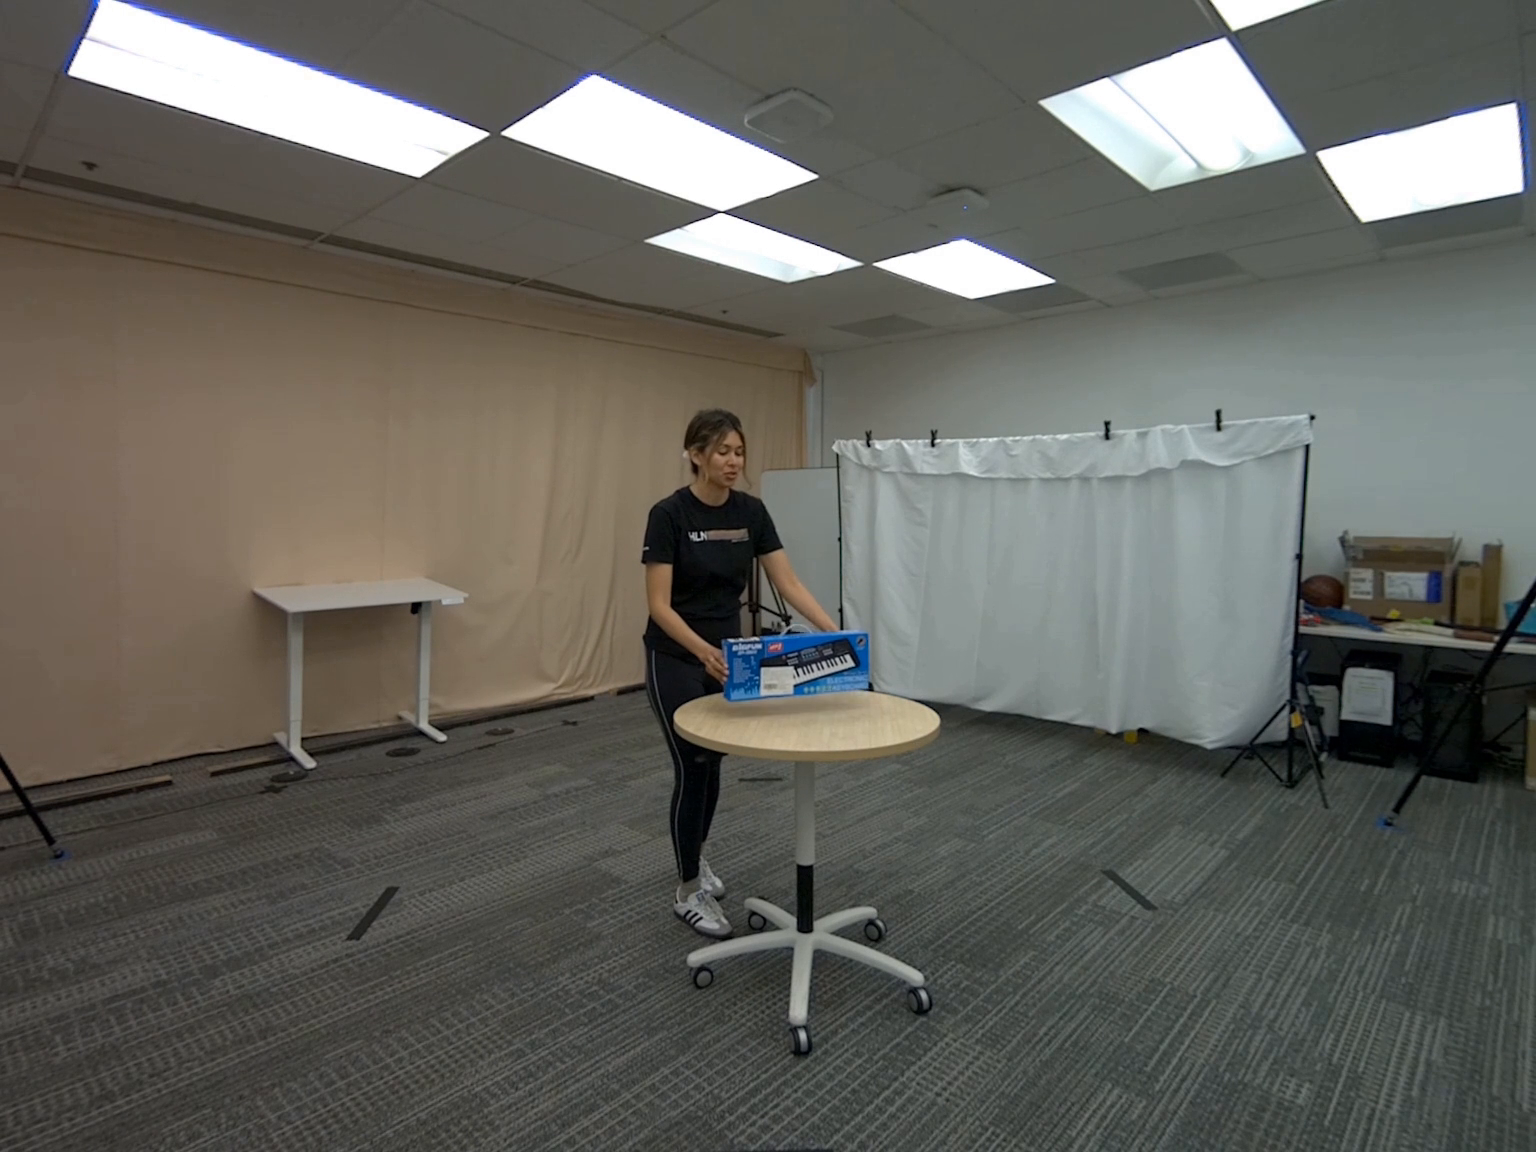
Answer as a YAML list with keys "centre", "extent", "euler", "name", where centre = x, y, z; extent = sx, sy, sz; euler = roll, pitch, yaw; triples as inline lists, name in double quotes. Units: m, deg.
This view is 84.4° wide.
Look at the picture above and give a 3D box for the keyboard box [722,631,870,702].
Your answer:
- centre: [0.087, 0.256, 2.466]
  extent: [0.429, 0.175, 0.060]
  euler: [-2, 3, -18]
  name: "keyboard box"
